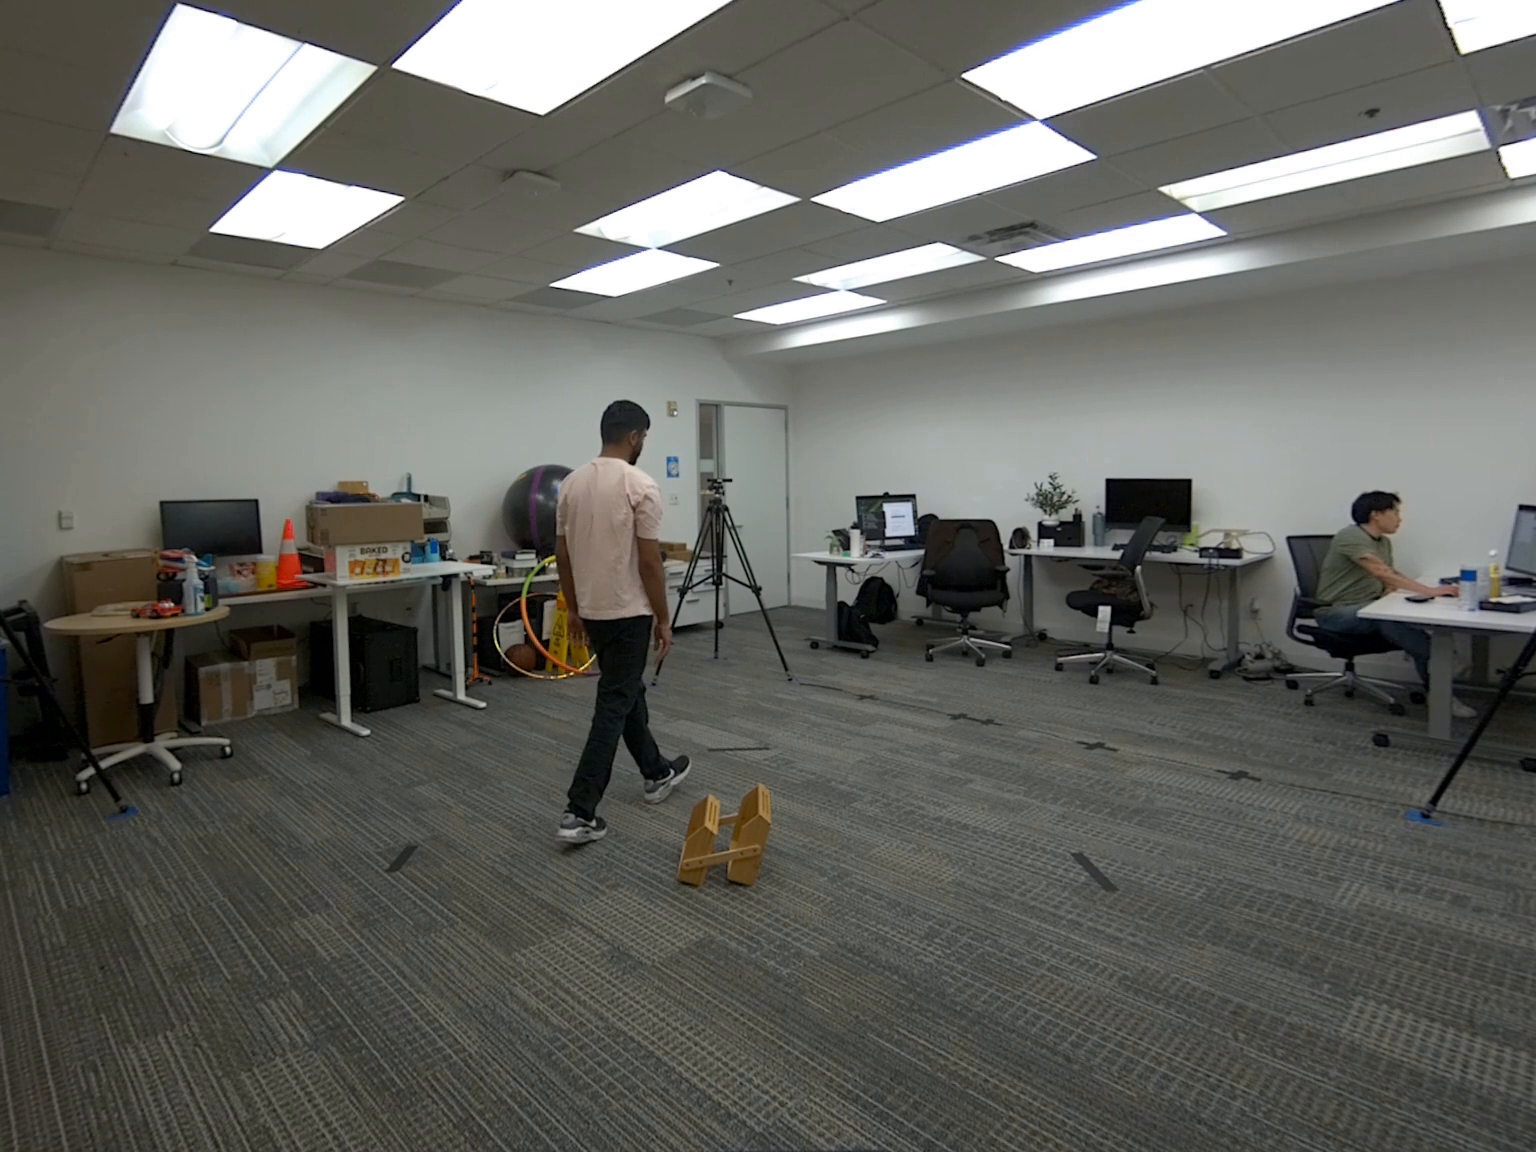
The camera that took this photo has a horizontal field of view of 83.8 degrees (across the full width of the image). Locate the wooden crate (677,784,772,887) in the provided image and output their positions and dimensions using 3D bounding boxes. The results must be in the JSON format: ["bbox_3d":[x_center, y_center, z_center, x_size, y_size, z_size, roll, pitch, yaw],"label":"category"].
[{"bbox_3d":[-0.154,0.918,3.078,0.273,0.301,0.325,15,5,-1],"label":"wooden crate"}]
